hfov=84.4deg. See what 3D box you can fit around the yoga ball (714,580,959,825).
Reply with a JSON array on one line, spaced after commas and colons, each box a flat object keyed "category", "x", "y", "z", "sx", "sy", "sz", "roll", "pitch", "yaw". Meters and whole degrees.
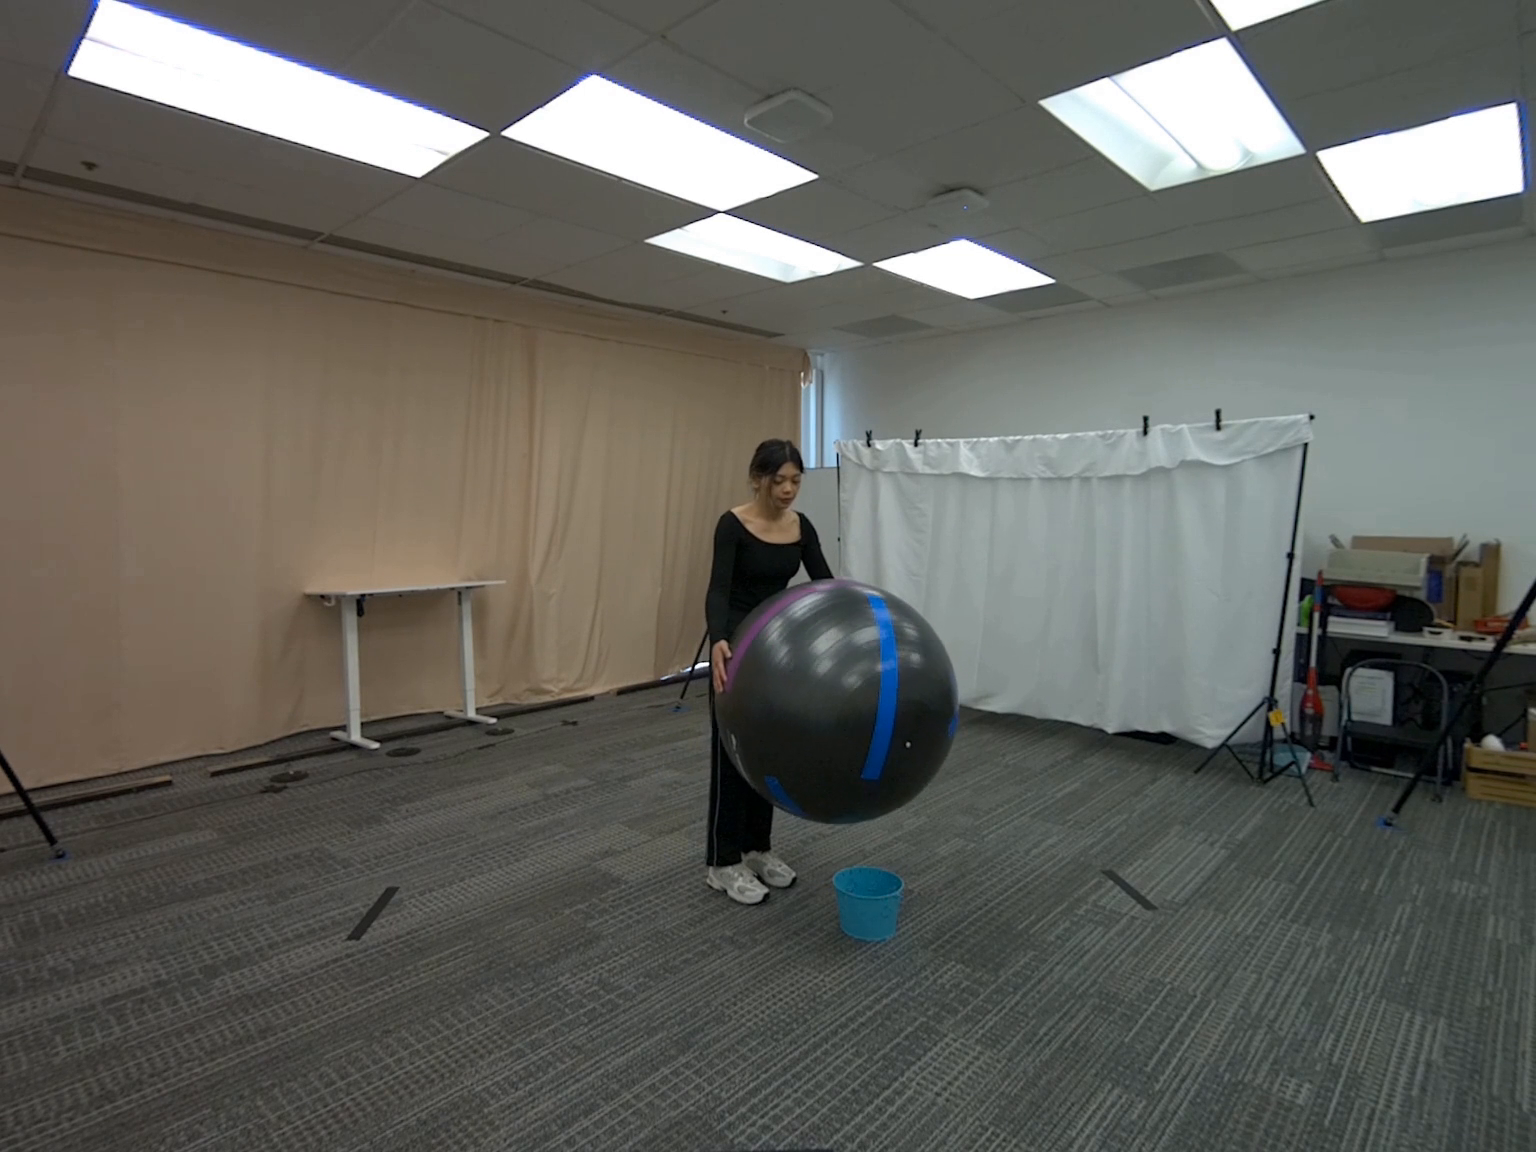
[{"category": "yoga ball", "x": 0.220, "y": 0.397, "z": 2.664, "sx": 0.757, "sy": 0.756, "sz": 0.760, "roll": 0, "pitch": 4, "yaw": -2}]
